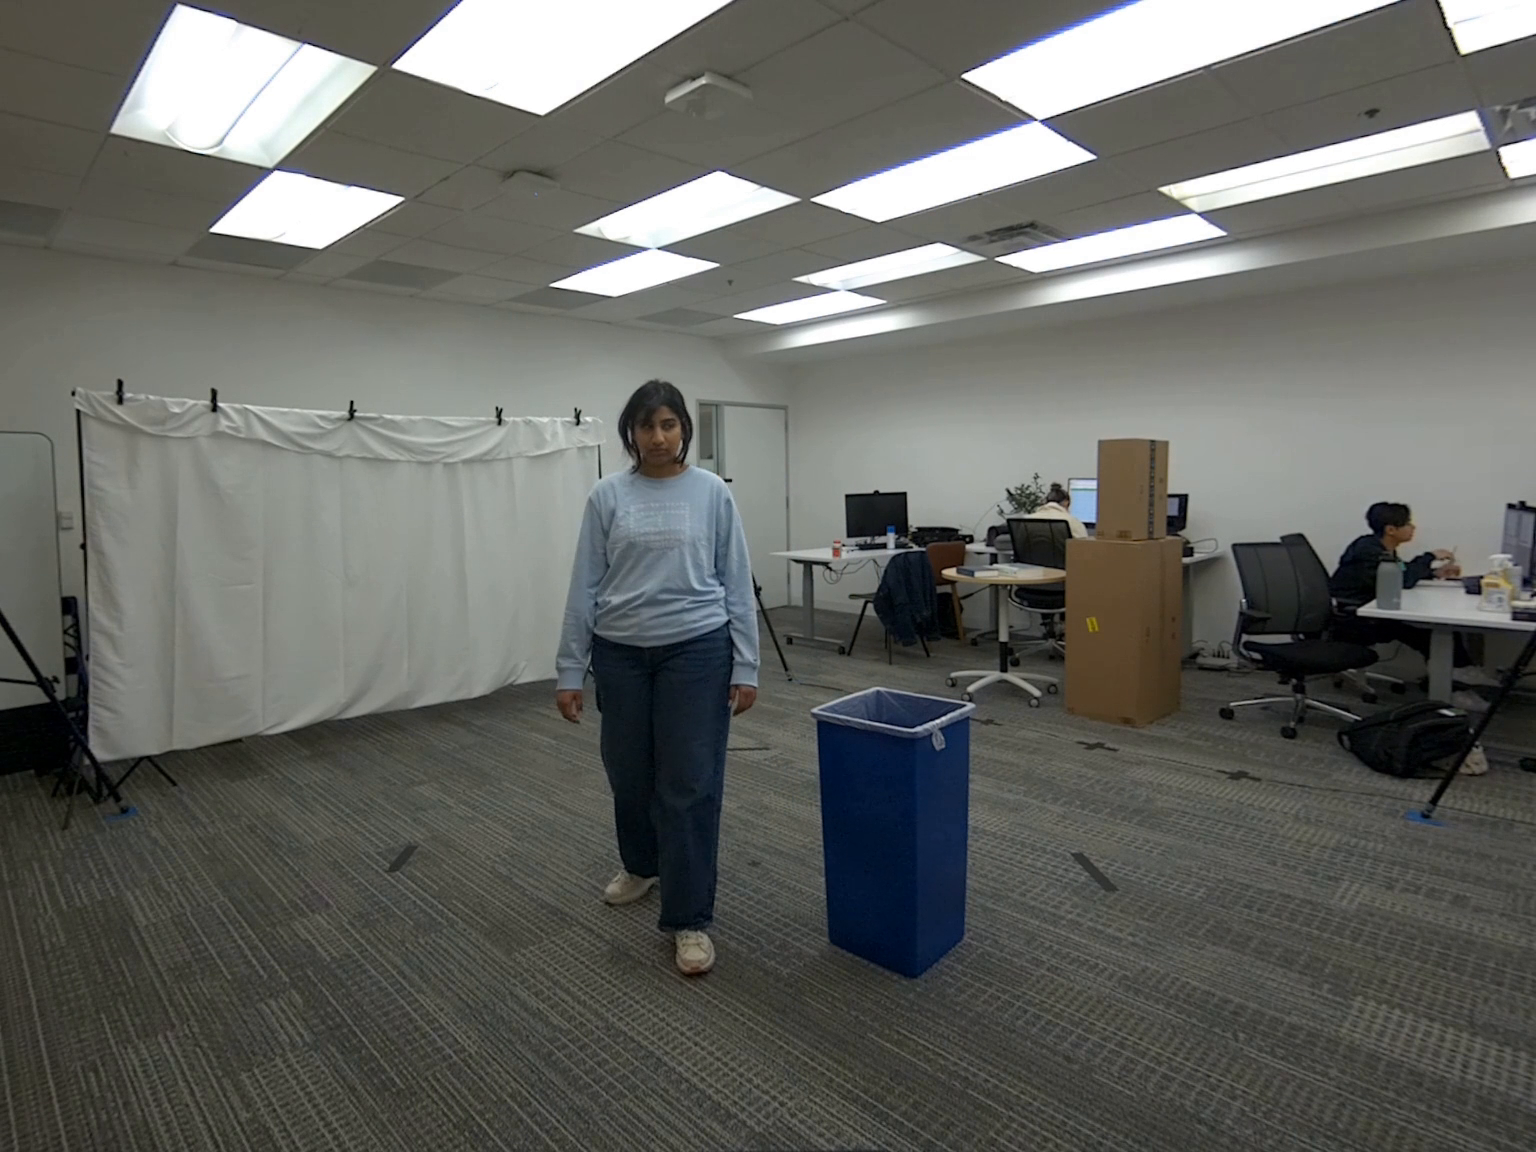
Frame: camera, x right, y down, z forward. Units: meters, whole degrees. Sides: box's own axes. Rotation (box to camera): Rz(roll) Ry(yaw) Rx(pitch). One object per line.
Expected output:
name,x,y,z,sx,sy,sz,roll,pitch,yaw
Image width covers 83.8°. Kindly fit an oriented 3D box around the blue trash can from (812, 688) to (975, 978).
blue trash can,0.384,0.741,2.569,0.389,0.711,0.364,2,5,42
